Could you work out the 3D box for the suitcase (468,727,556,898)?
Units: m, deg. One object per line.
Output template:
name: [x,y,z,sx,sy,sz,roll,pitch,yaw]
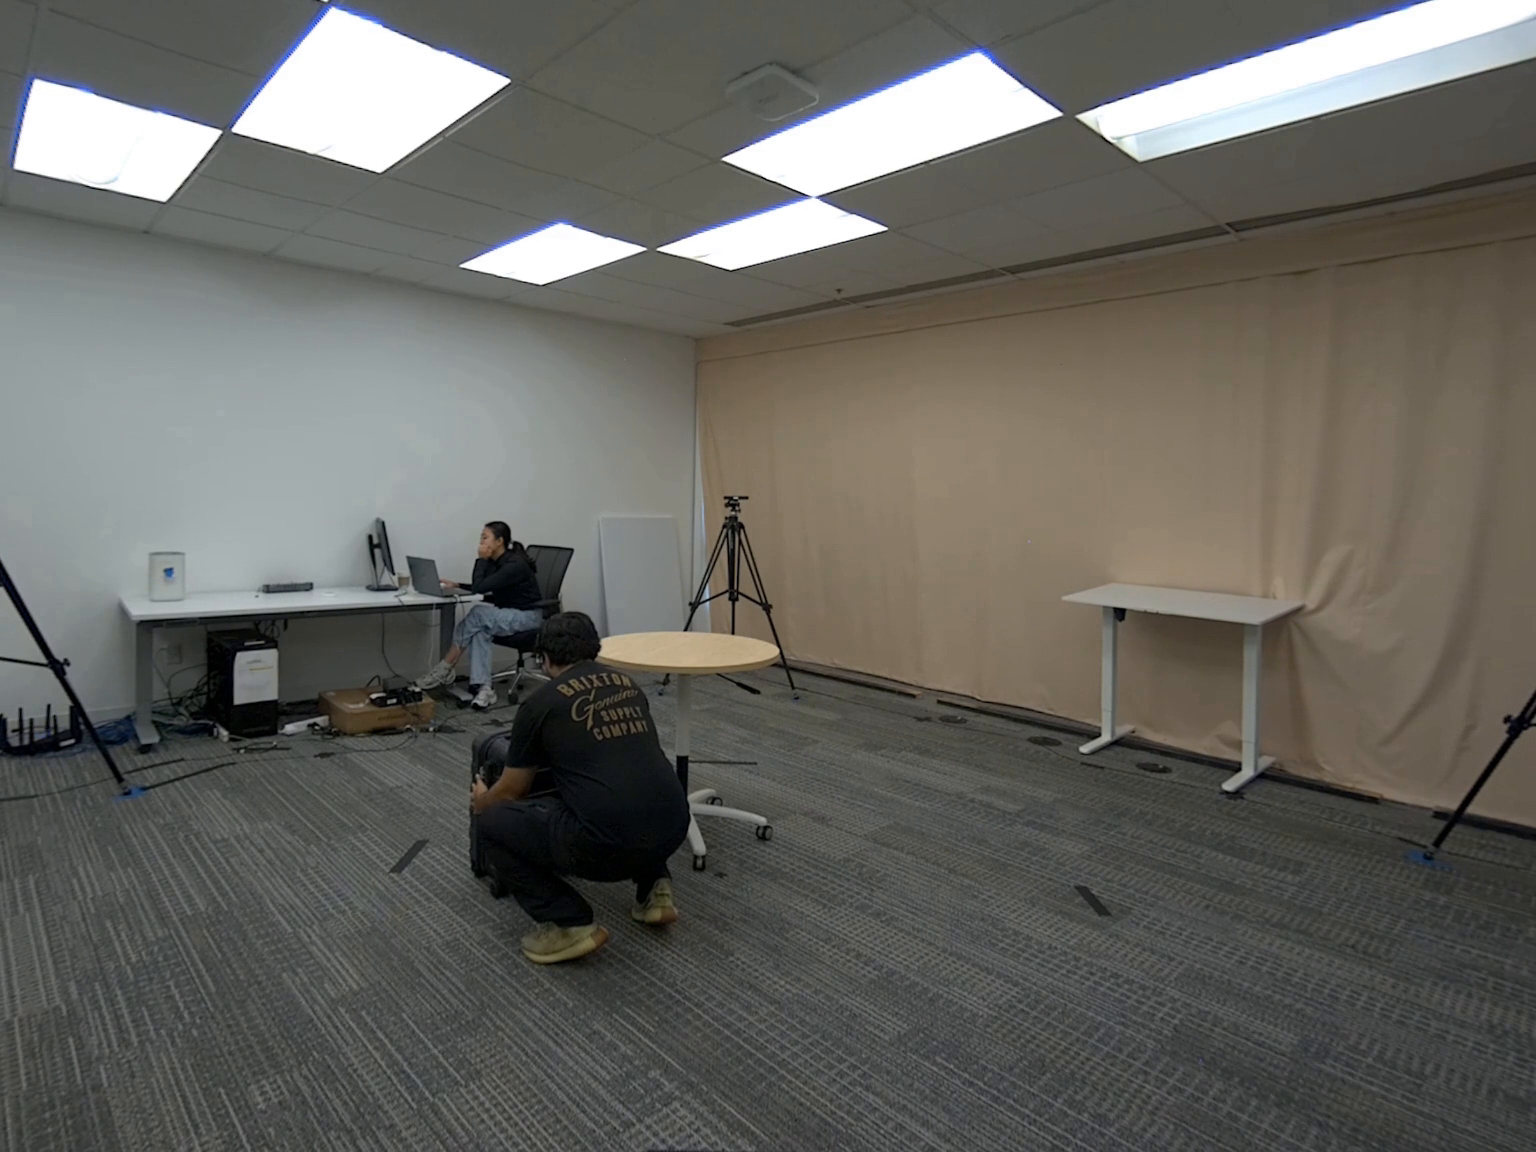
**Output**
suitcase: [-0.876,0.820,3.035,0.254,0.548,0.367,3,5,45]
